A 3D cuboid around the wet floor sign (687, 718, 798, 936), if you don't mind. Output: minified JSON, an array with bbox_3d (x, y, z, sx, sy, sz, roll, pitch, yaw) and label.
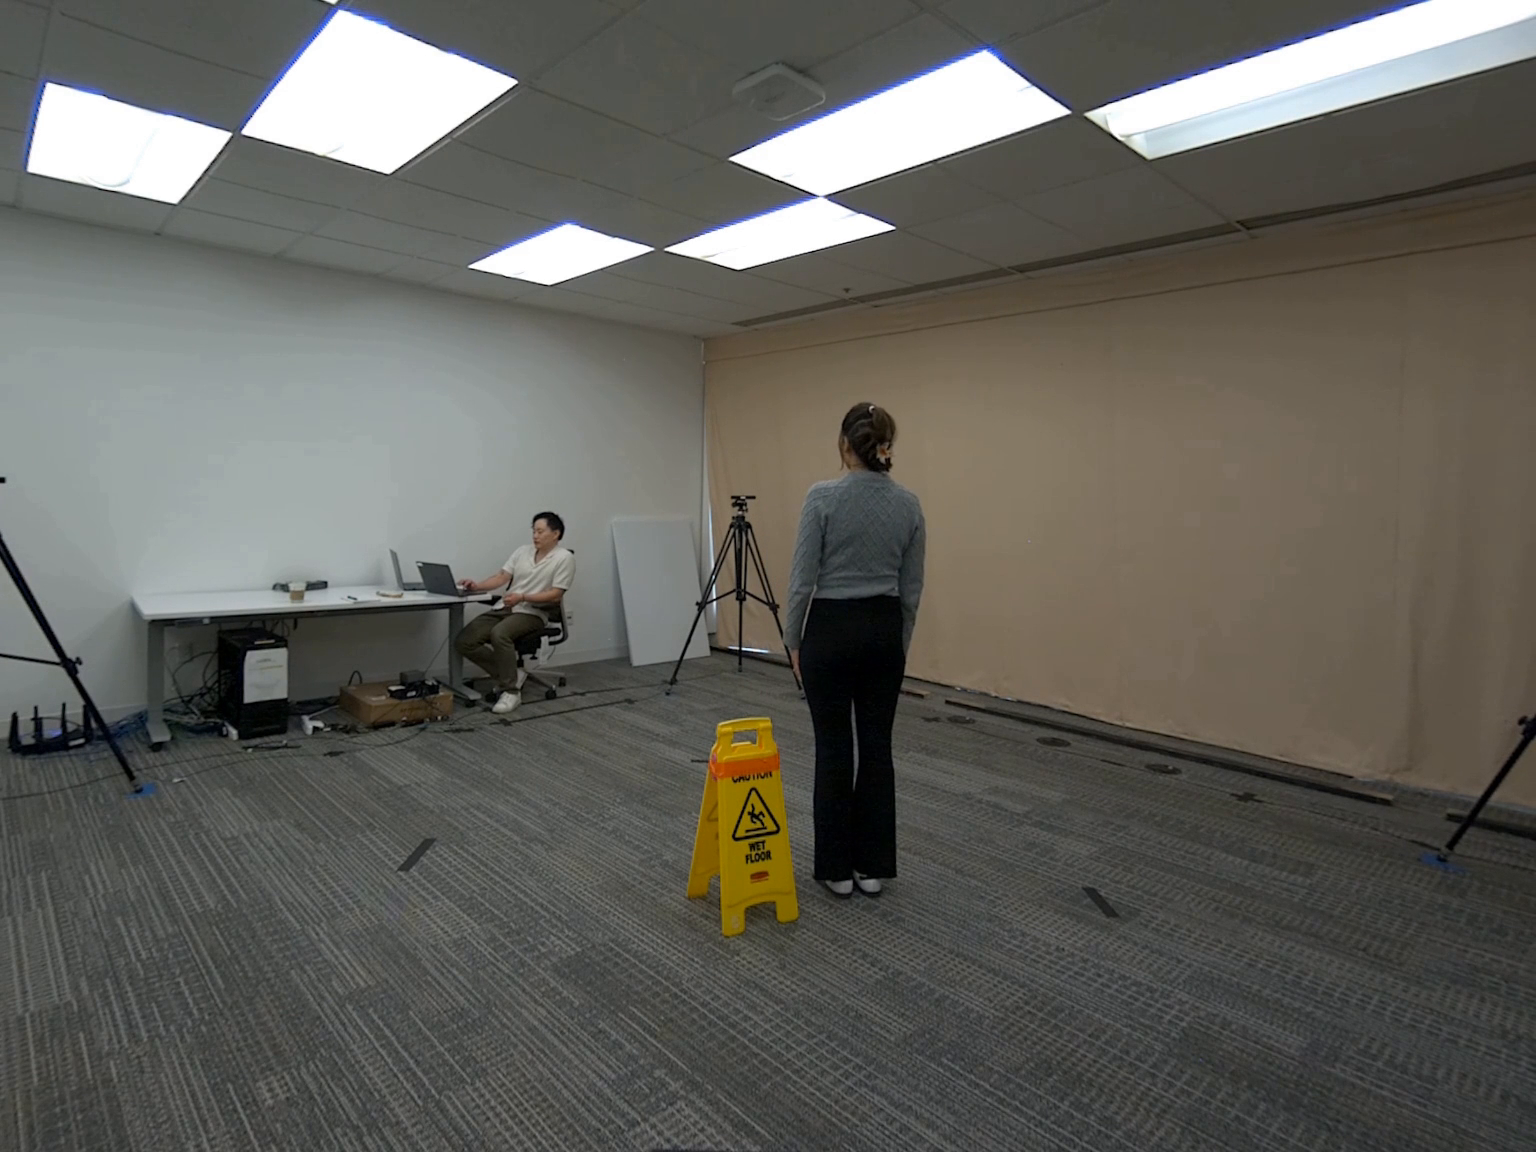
[{"bbox_3d":[-0.091,0.805,2.833,0.277,0.645,0.296,0,3,-29],"label":"wet floor sign"}]
